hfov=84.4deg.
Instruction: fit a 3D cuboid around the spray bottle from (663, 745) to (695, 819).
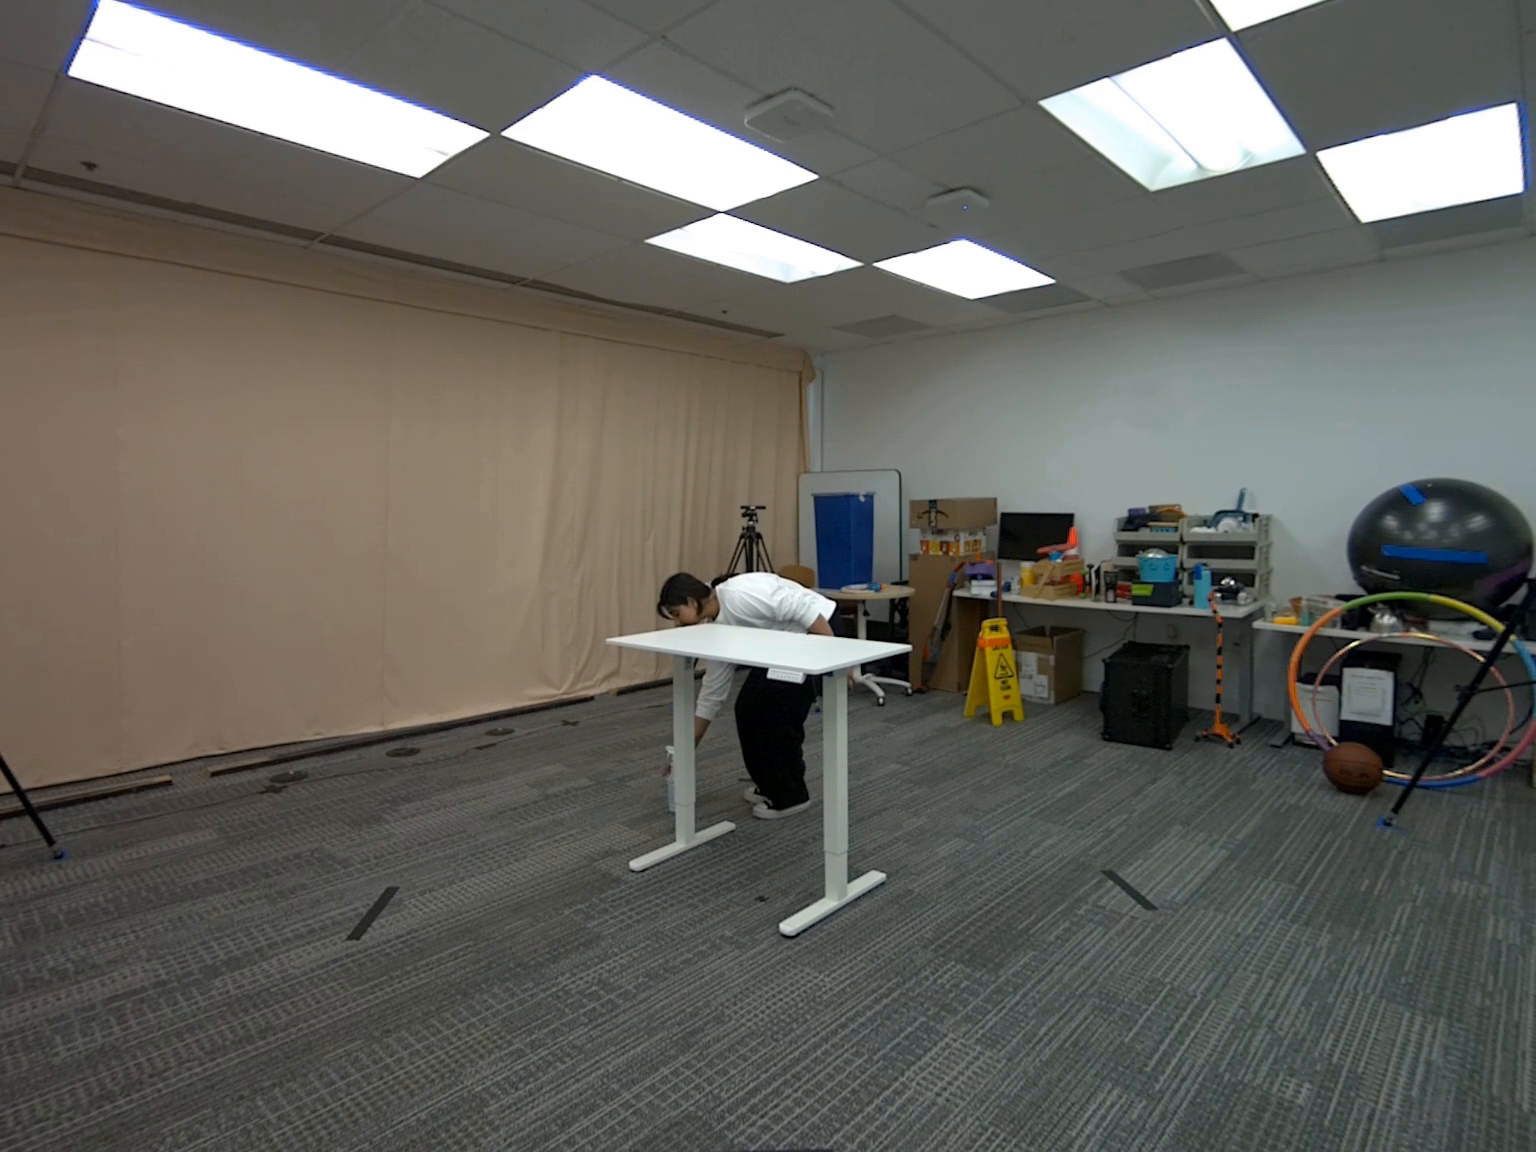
[{"bbox_3d":[-0.407,0.931,3.851,0.084,0.297,0.093,-5,0,-37],"label":"spray bottle"}]
